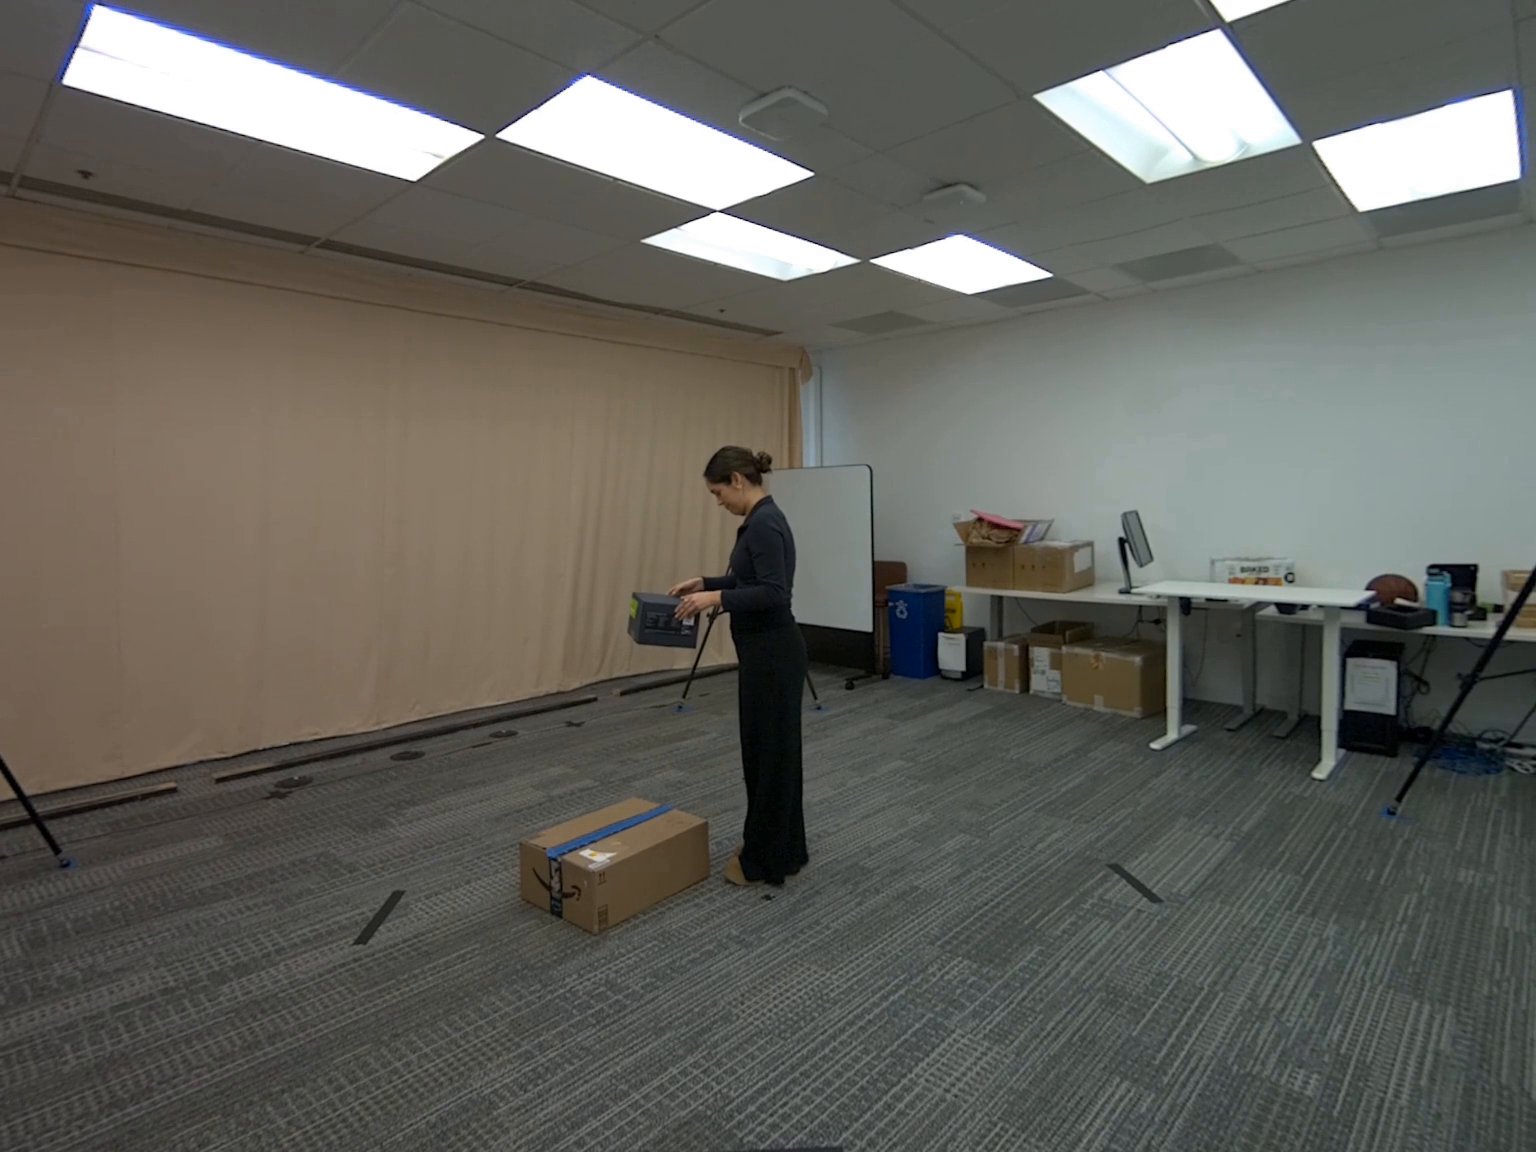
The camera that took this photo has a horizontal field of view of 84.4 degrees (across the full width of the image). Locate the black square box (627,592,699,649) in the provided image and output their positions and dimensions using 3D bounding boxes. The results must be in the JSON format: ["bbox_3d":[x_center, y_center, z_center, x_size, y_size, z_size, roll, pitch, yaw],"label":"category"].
[{"bbox_3d":[-0.388,0.159,3.081,0.213,0.155,0.232,5,5,-17],"label":"black square box"}]
